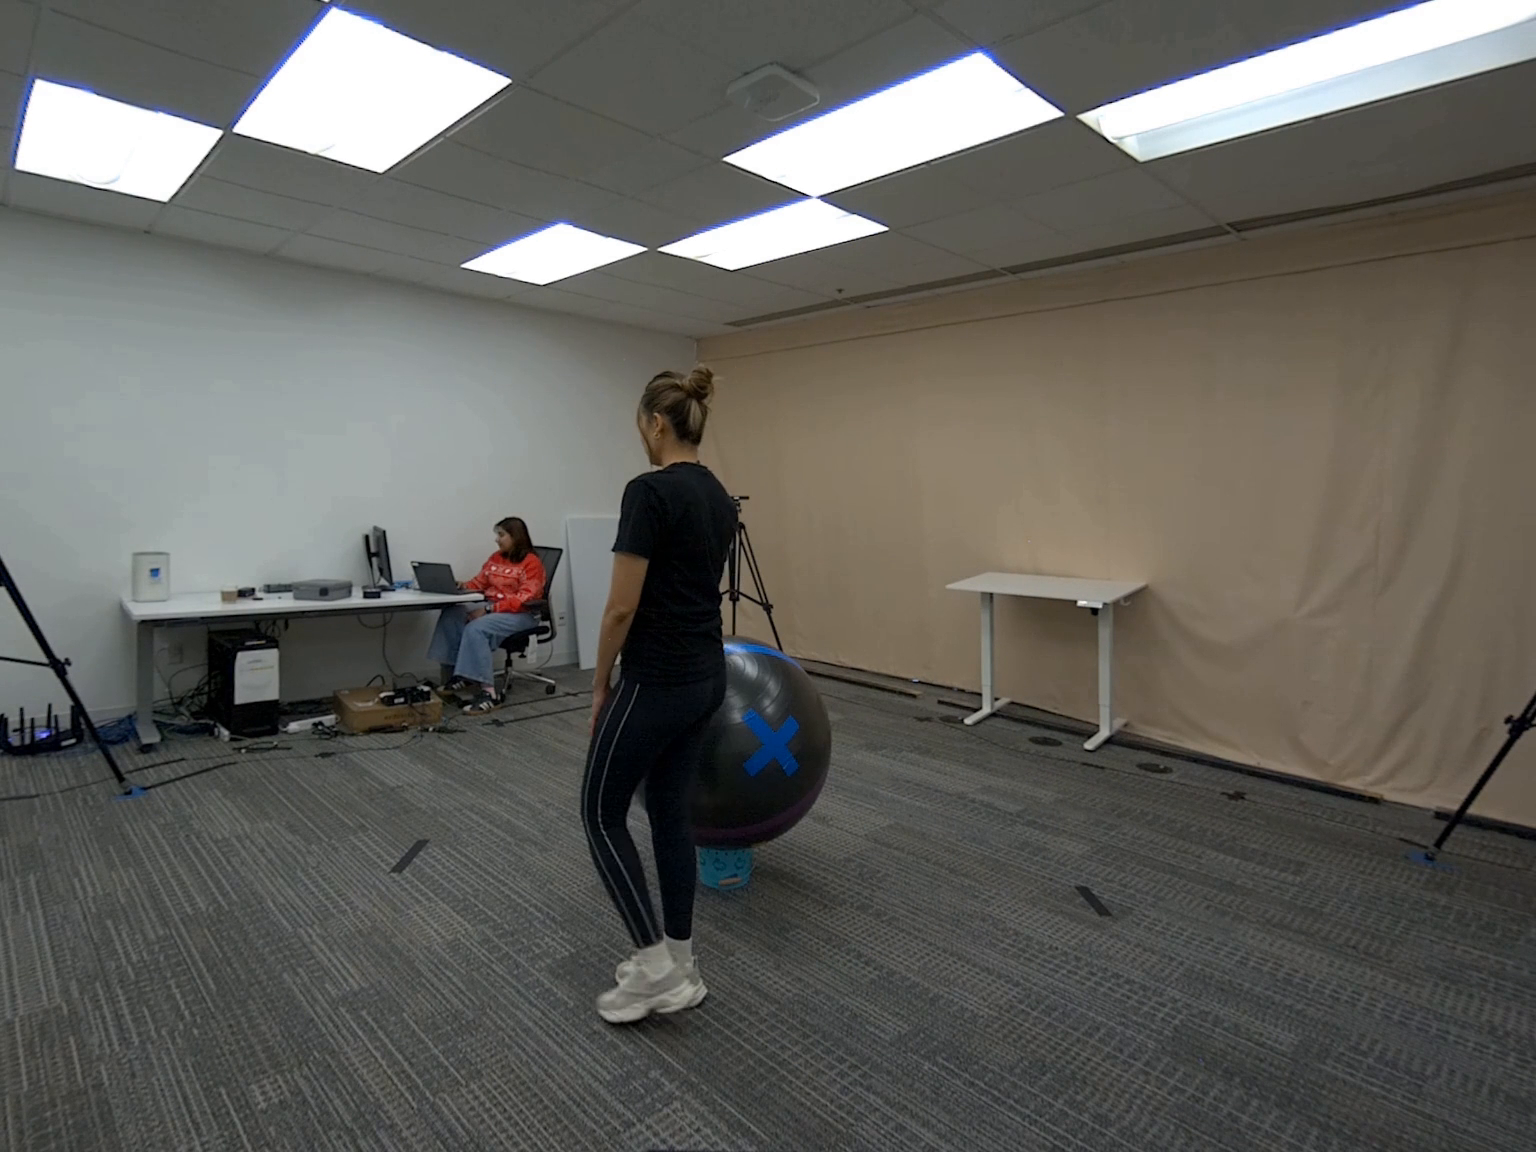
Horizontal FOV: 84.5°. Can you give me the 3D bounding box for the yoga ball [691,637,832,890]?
[{"bbox_3d":[-0.155,0.602,3.047,0.757,0.756,0.761,1,4,-1],"label":"yoga ball"}]
